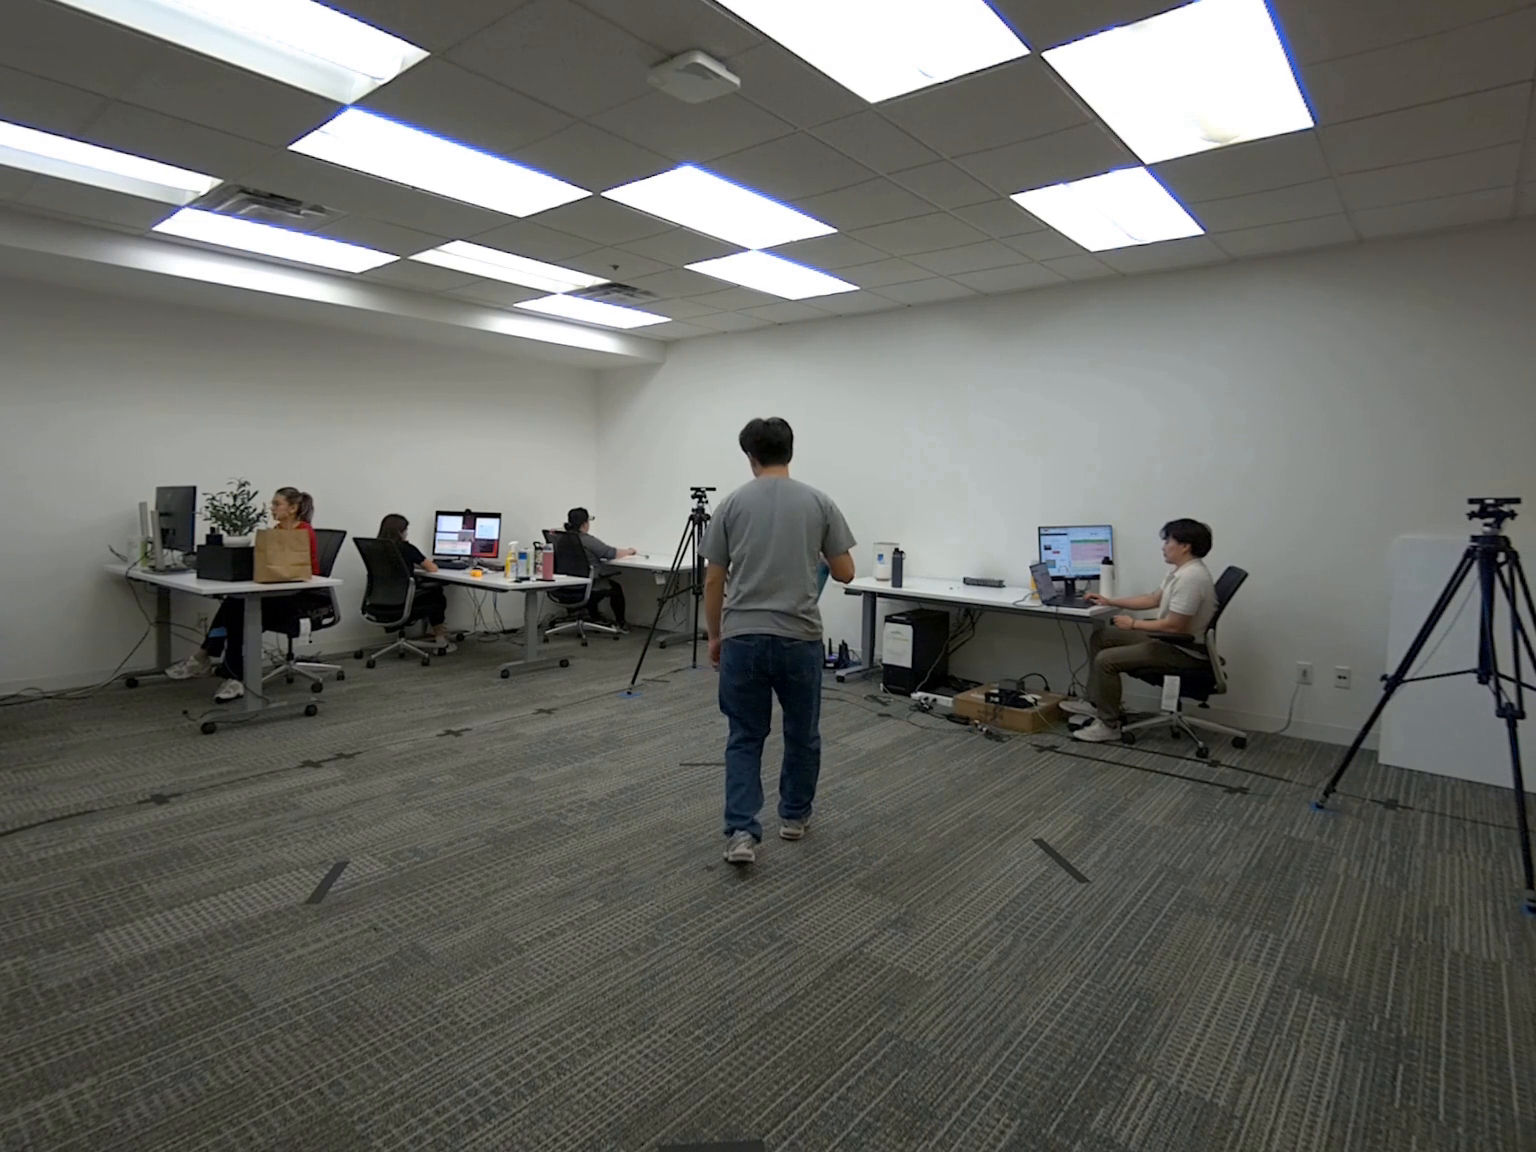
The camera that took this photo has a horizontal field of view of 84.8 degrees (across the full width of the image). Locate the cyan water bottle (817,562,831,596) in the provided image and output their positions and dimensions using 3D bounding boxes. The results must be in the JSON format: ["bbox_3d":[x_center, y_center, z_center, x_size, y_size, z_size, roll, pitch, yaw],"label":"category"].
[{"bbox_3d":[0.197,0.016,3.623,0.091,0.280,0.094,15,18,-7],"label":"cyan water bottle"}]
